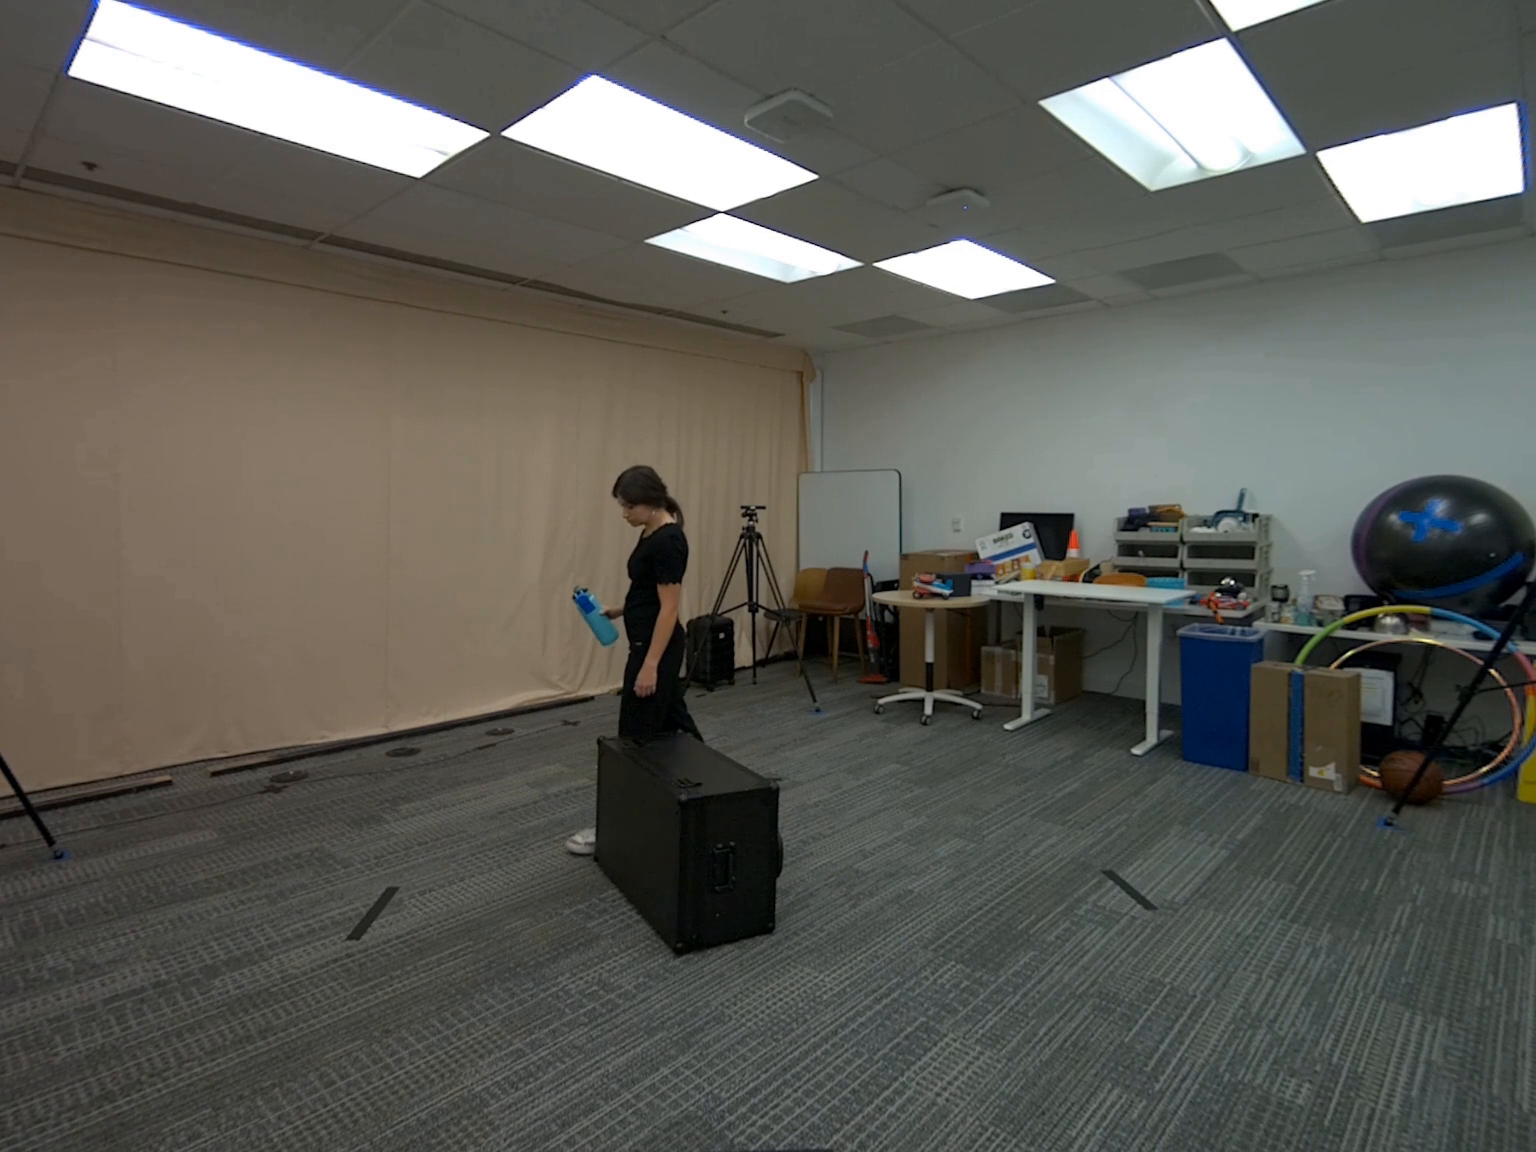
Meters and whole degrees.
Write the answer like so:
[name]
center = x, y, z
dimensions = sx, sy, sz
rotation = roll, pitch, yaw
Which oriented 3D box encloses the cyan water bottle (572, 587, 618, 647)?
[cyan water bottle]
center = -0.745, 0.168, 3.612
dimensions = 0.093, 0.278, 0.093
rotation = -25, 20, 9
